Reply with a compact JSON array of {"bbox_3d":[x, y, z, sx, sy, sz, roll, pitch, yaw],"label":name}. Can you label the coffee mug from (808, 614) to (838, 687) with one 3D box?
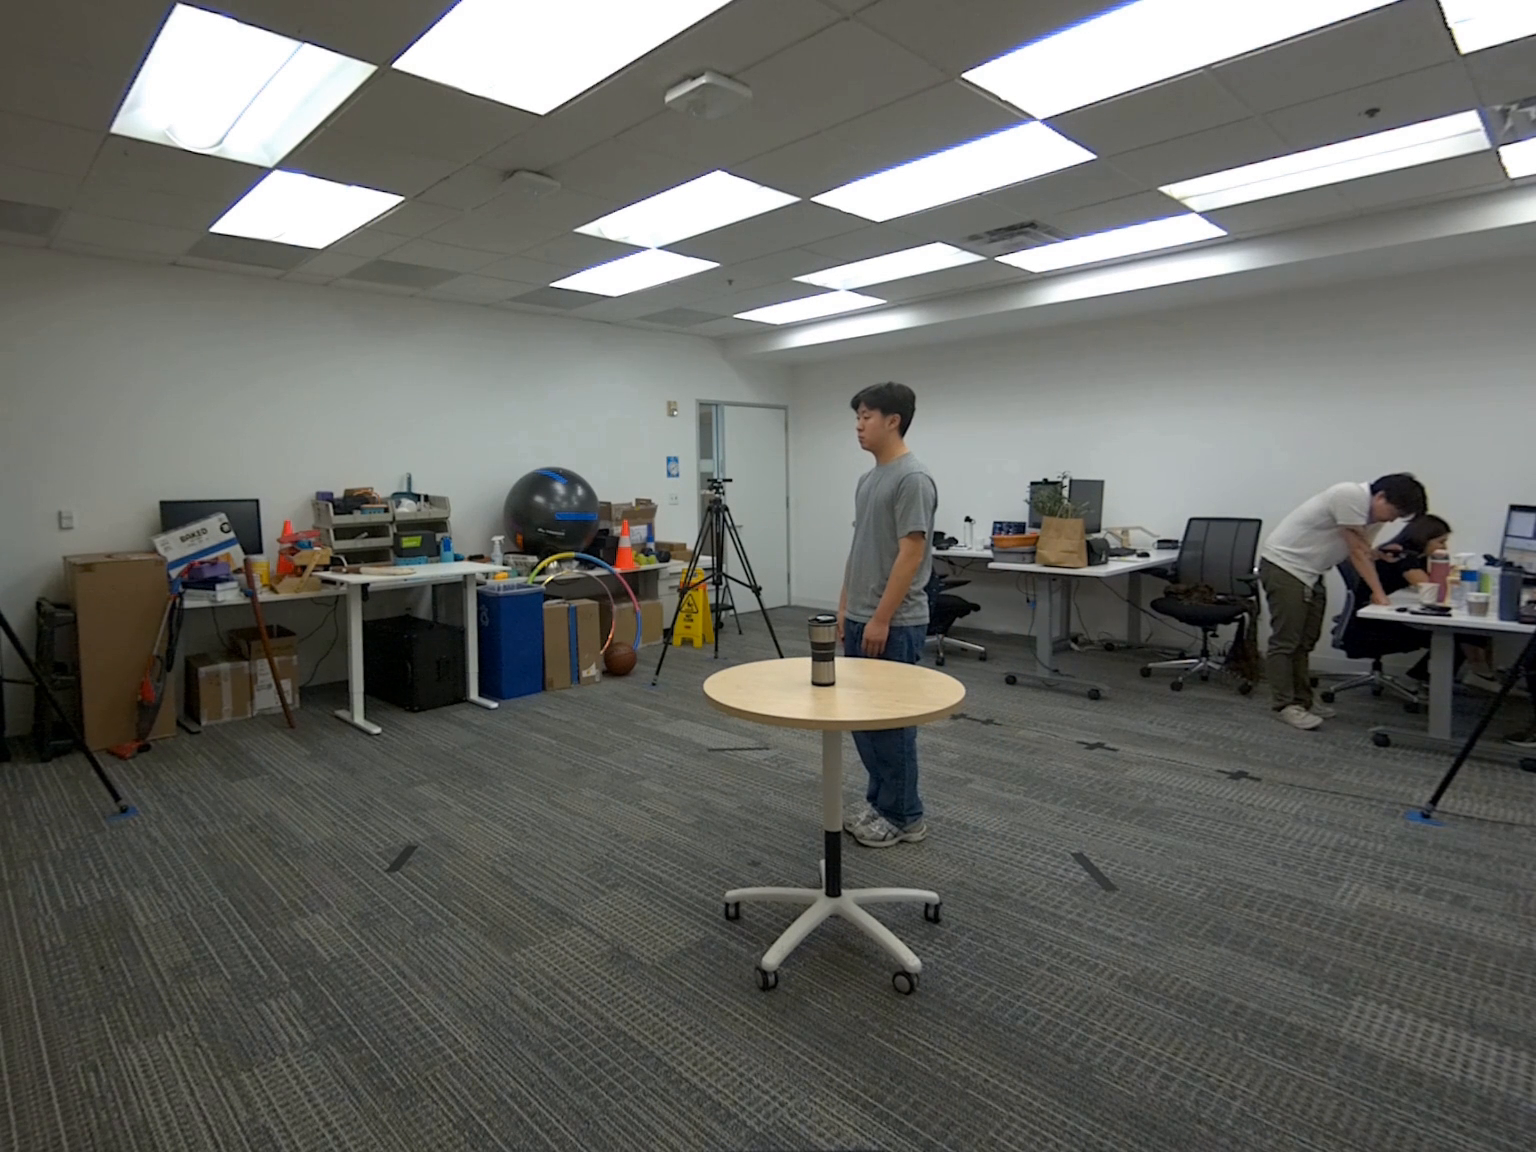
[{"bbox_3d":[0.180,0.219,2.549,0.090,0.202,0.119,-3,6,37],"label":"coffee mug"}]
